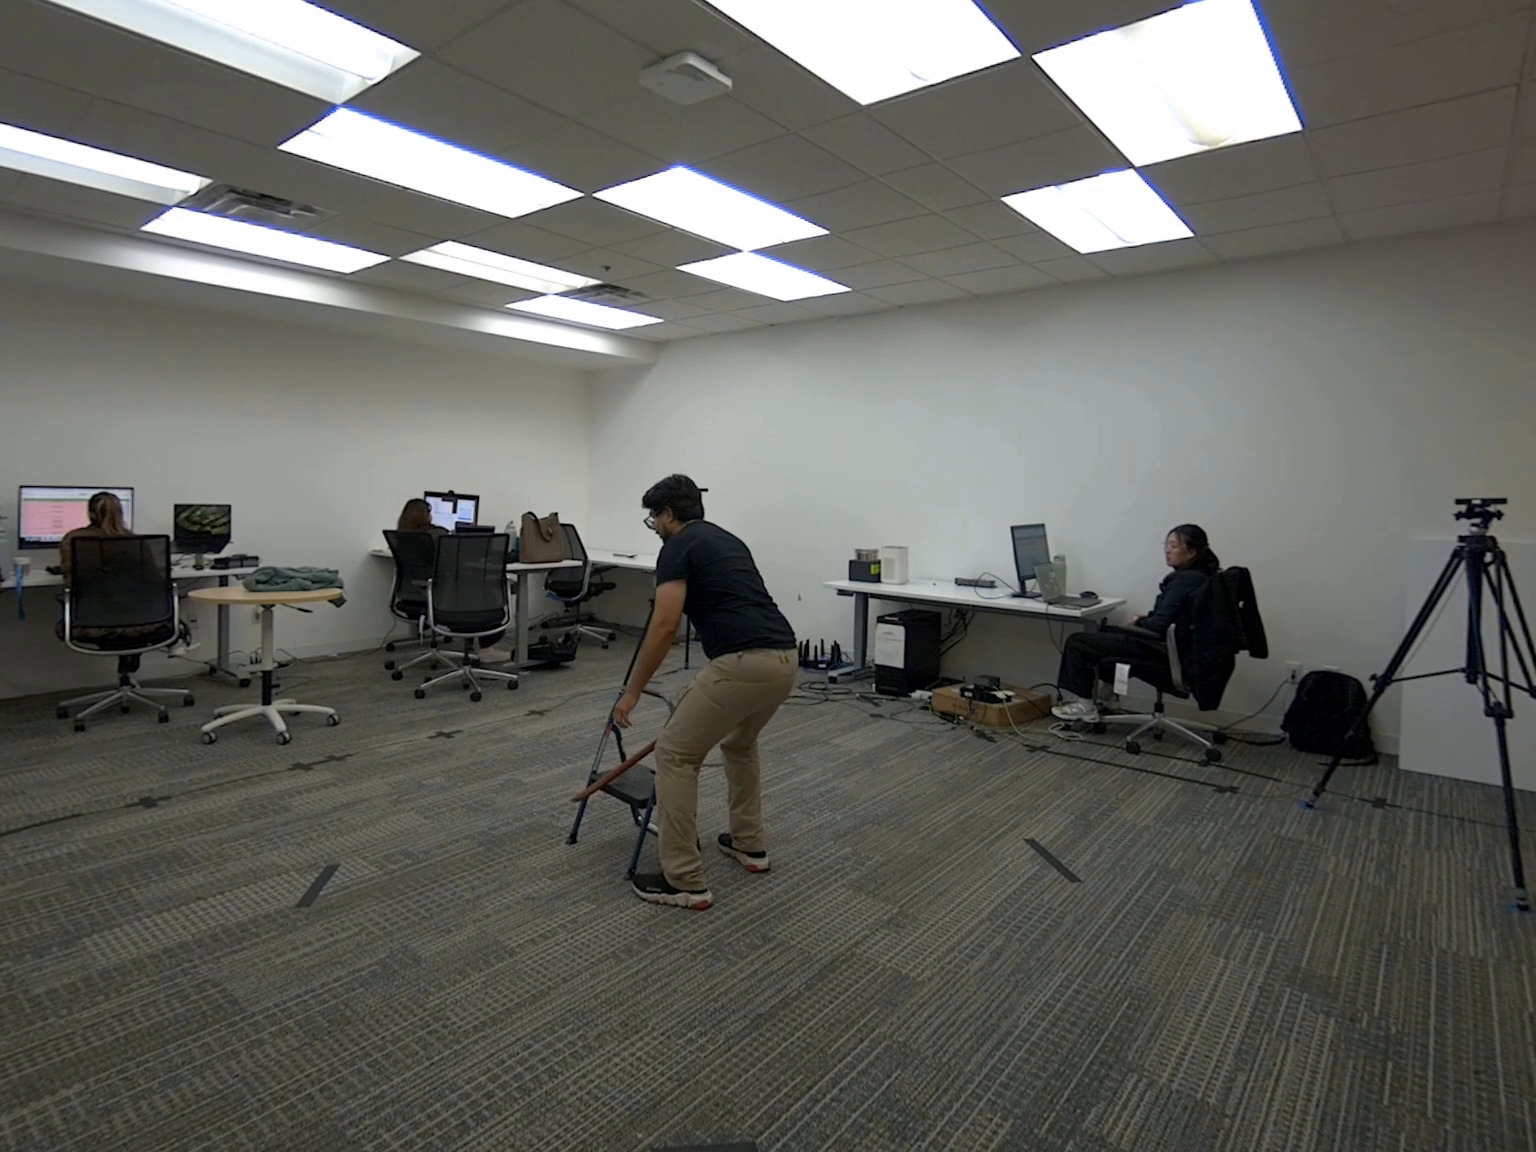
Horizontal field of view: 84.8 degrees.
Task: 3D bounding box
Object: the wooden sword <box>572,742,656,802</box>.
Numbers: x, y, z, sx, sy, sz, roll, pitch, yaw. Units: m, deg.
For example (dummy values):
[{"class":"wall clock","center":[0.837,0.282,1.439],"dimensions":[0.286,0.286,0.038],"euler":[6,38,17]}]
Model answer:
[{"class":"wooden sword","center":[-0.366,0.592,3.400],"dimensions":[1.014,0.023,0.053],"euler":[-32,51,-28]}]
